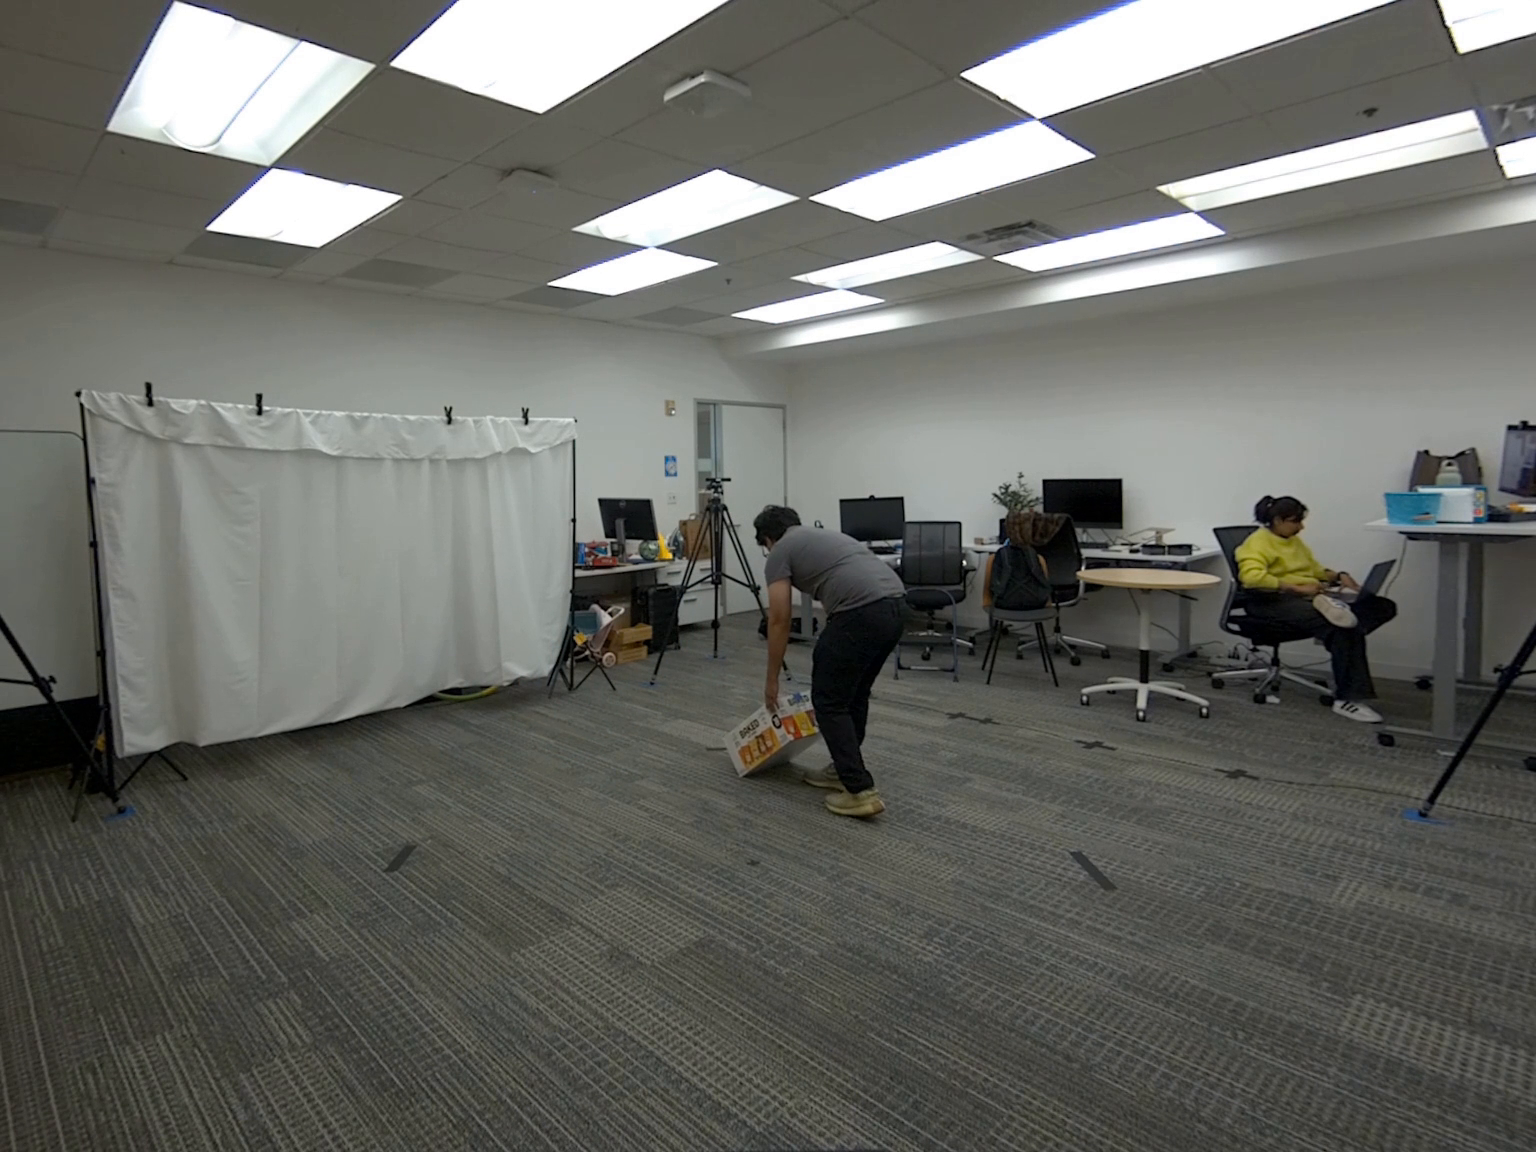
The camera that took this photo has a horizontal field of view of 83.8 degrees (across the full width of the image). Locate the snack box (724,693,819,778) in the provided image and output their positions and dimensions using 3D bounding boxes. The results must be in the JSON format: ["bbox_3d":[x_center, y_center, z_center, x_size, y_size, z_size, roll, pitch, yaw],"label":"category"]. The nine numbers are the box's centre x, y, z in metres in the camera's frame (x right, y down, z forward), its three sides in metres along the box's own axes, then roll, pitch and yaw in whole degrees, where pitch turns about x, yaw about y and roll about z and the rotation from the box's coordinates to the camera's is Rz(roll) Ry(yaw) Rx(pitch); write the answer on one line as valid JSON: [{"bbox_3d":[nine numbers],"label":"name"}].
[{"bbox_3d":[0.061,0.738,4.024,0.331,0.211,0.405,-5,-31,-44],"label":"snack box"}]
